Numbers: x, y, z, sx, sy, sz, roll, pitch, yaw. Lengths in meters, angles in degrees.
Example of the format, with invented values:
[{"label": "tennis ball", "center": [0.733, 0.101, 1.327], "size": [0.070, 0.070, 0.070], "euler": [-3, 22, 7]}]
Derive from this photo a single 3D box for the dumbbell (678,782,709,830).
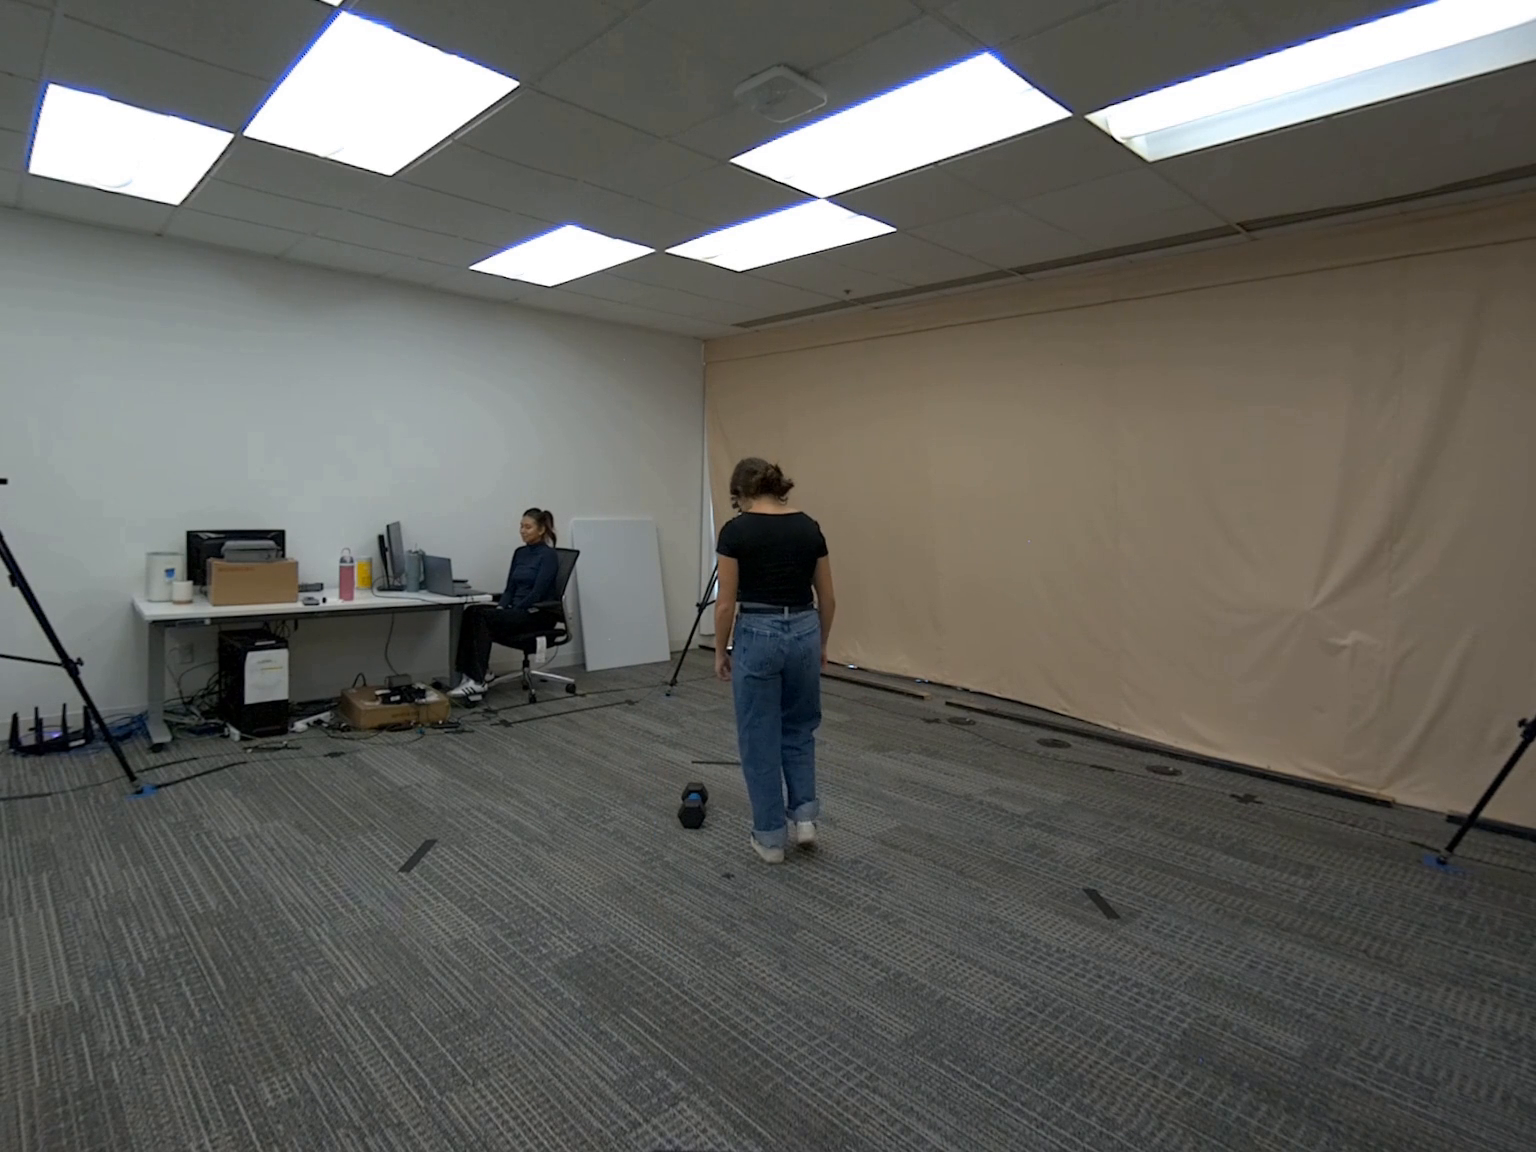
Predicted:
[{"label": "dumbbell", "center": [-0.338, 1.000, 3.679], "size": [0.108, 0.123, 0.294], "euler": [31, 4, -3]}]
